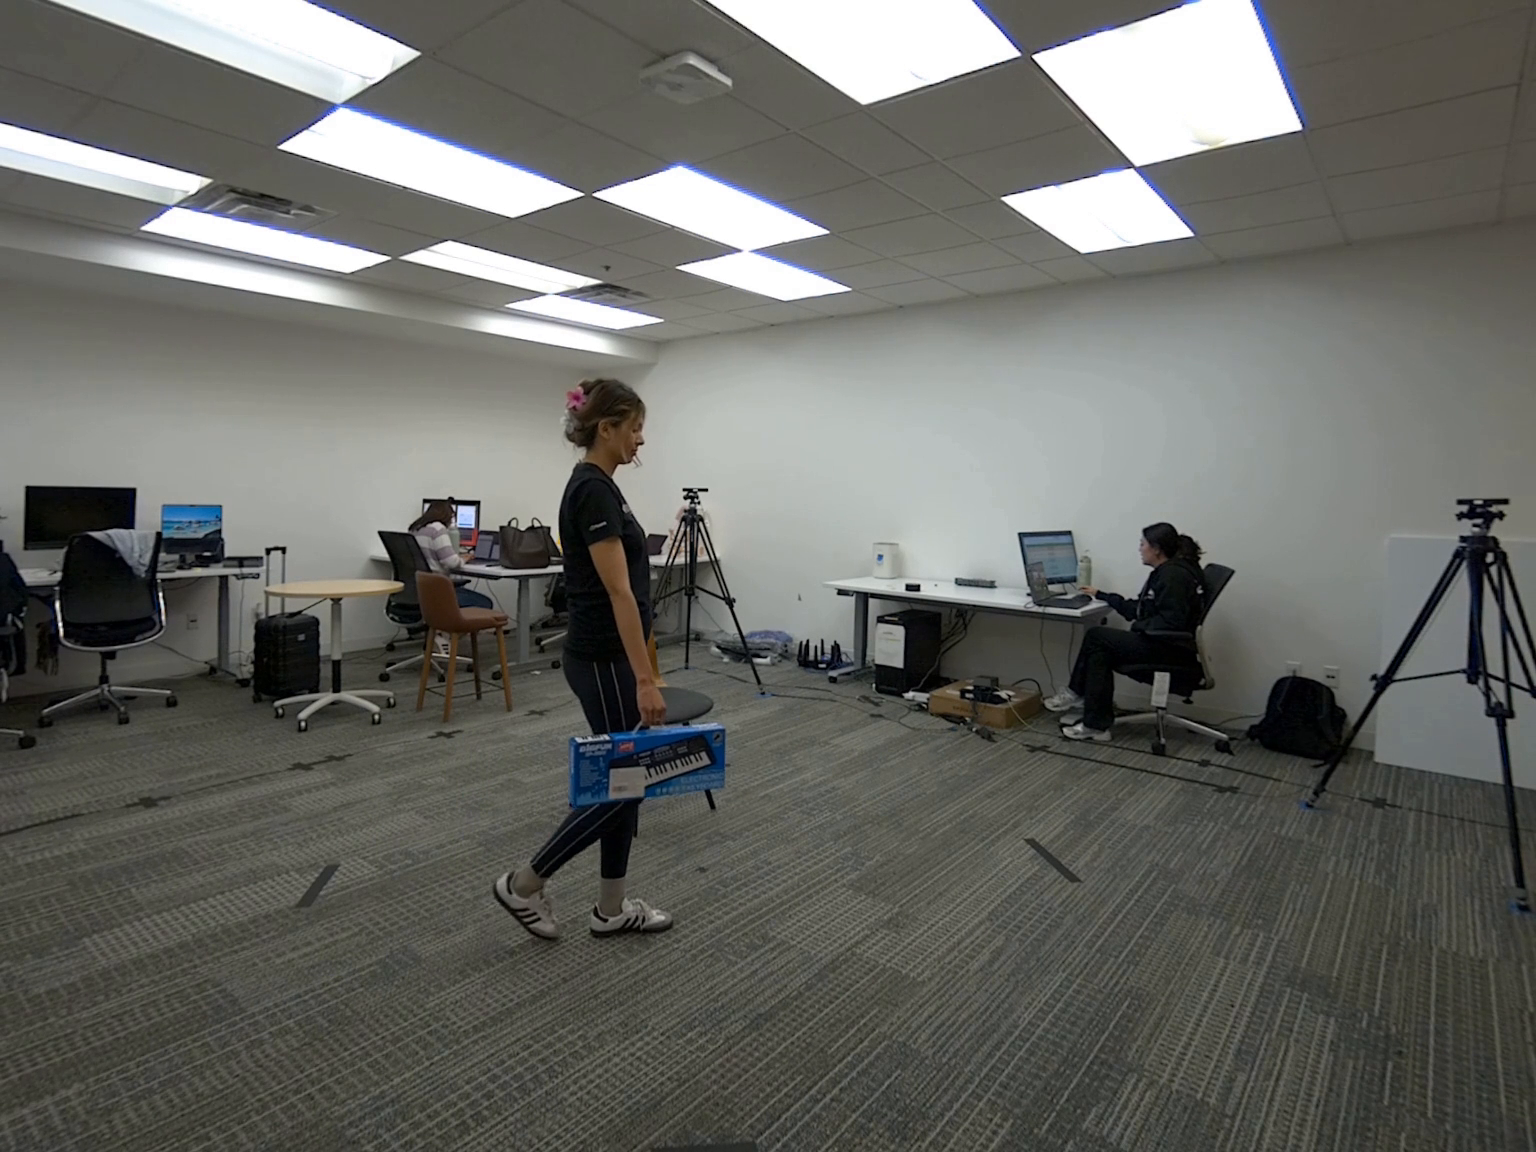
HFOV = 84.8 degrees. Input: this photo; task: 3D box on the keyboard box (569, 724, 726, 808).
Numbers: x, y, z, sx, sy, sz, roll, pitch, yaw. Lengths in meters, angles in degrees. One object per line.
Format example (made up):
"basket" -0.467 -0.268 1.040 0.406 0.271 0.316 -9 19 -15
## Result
"keyboard box" -0.337 0.515 2.344 0.427 0.176 0.060 -1 2 -24
